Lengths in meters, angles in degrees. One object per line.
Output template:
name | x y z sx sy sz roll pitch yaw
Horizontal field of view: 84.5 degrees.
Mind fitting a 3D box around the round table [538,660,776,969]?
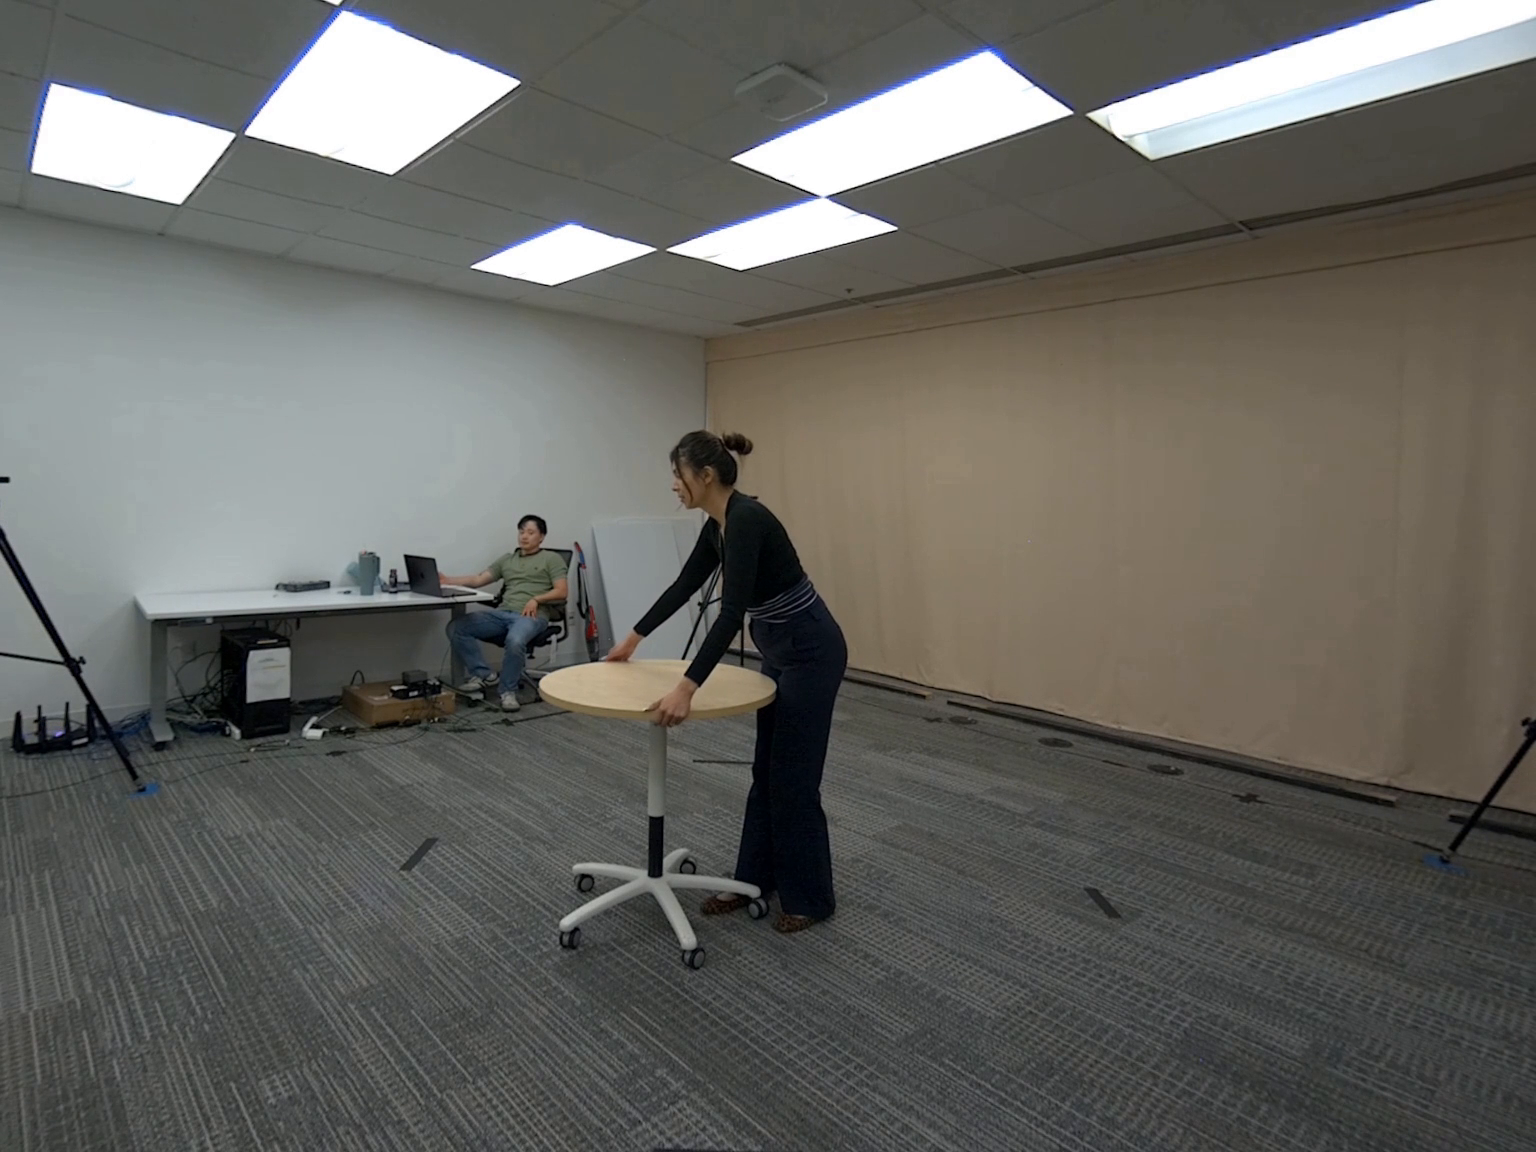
round table | -0.371 0.740 2.757 0.763 0.792 0.766 1 4 -1
